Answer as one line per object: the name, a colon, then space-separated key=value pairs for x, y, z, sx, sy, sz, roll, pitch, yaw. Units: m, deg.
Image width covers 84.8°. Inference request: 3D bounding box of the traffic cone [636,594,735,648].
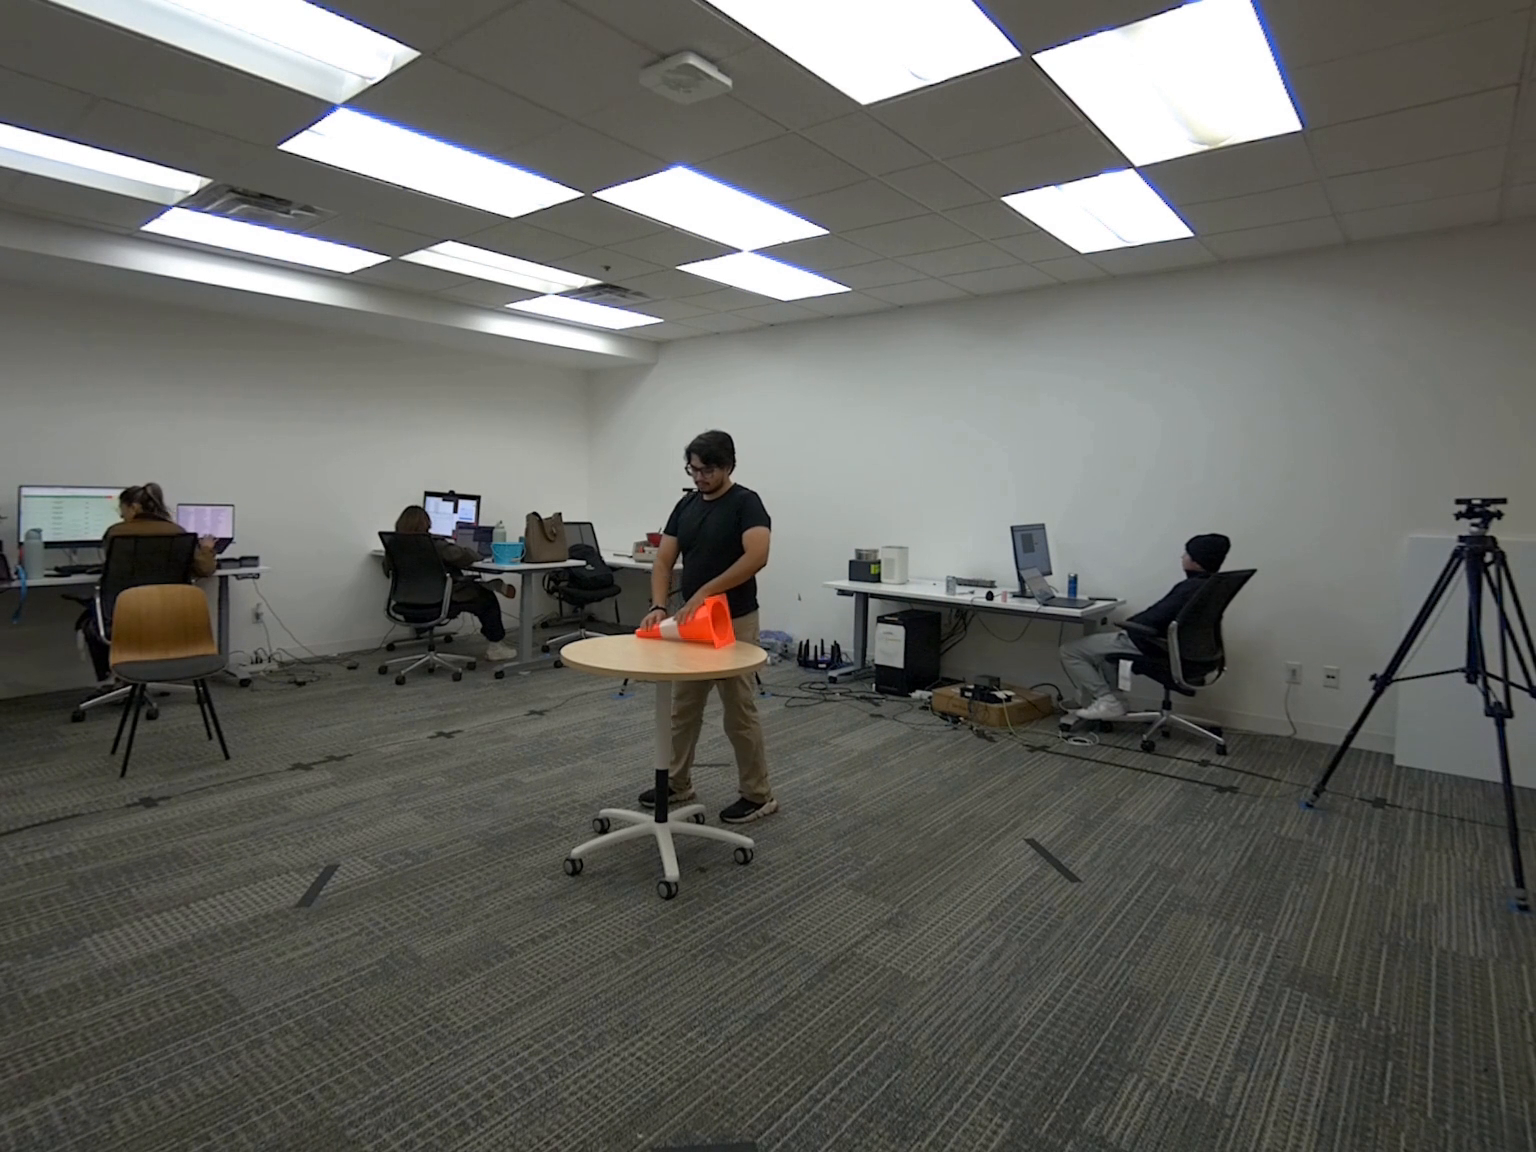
traffic cone: x=-0.370 y=0.208 z=3.395 sx=0.390 sy=0.203 sz=0.201 roll=-12 pitch=0 yaw=22
